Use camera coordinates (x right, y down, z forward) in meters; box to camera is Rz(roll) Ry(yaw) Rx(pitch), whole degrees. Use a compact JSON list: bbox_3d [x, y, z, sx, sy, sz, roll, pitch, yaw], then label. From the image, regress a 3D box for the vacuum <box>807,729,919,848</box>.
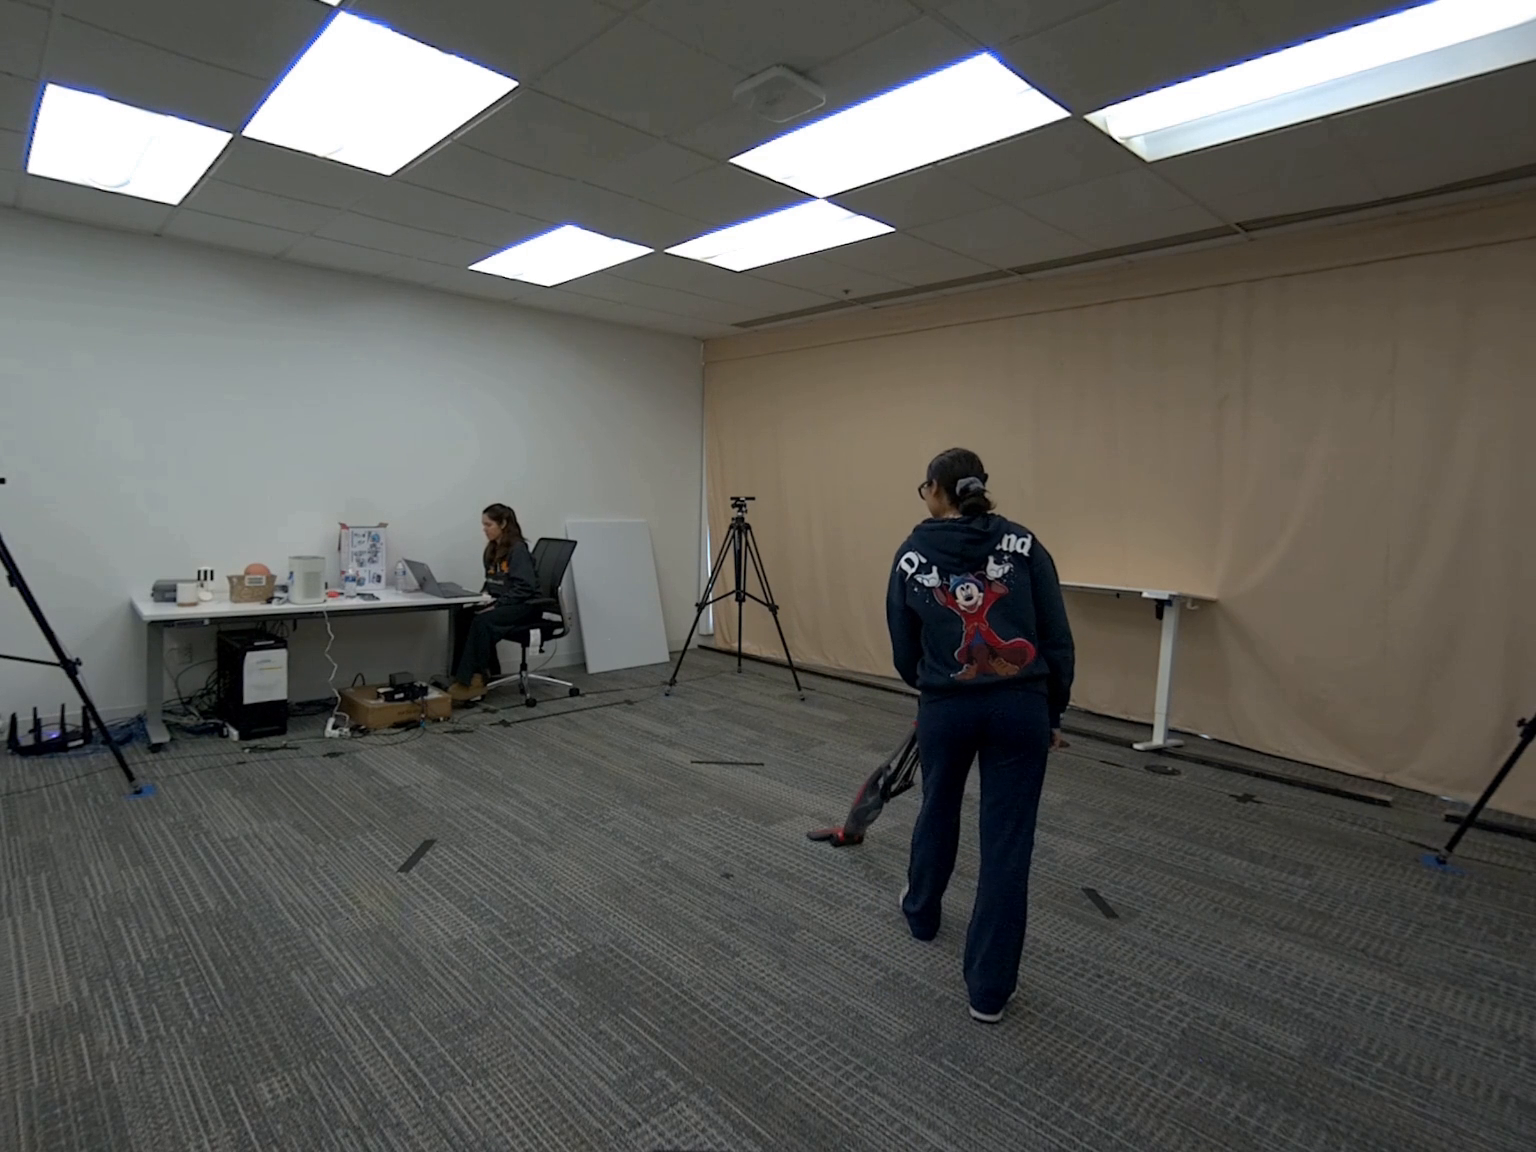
[{"bbox_3d":[0.432,0.743,3.108,0.248,0.148,1.037,-1,-40,-22],"label":"vacuum"}]
